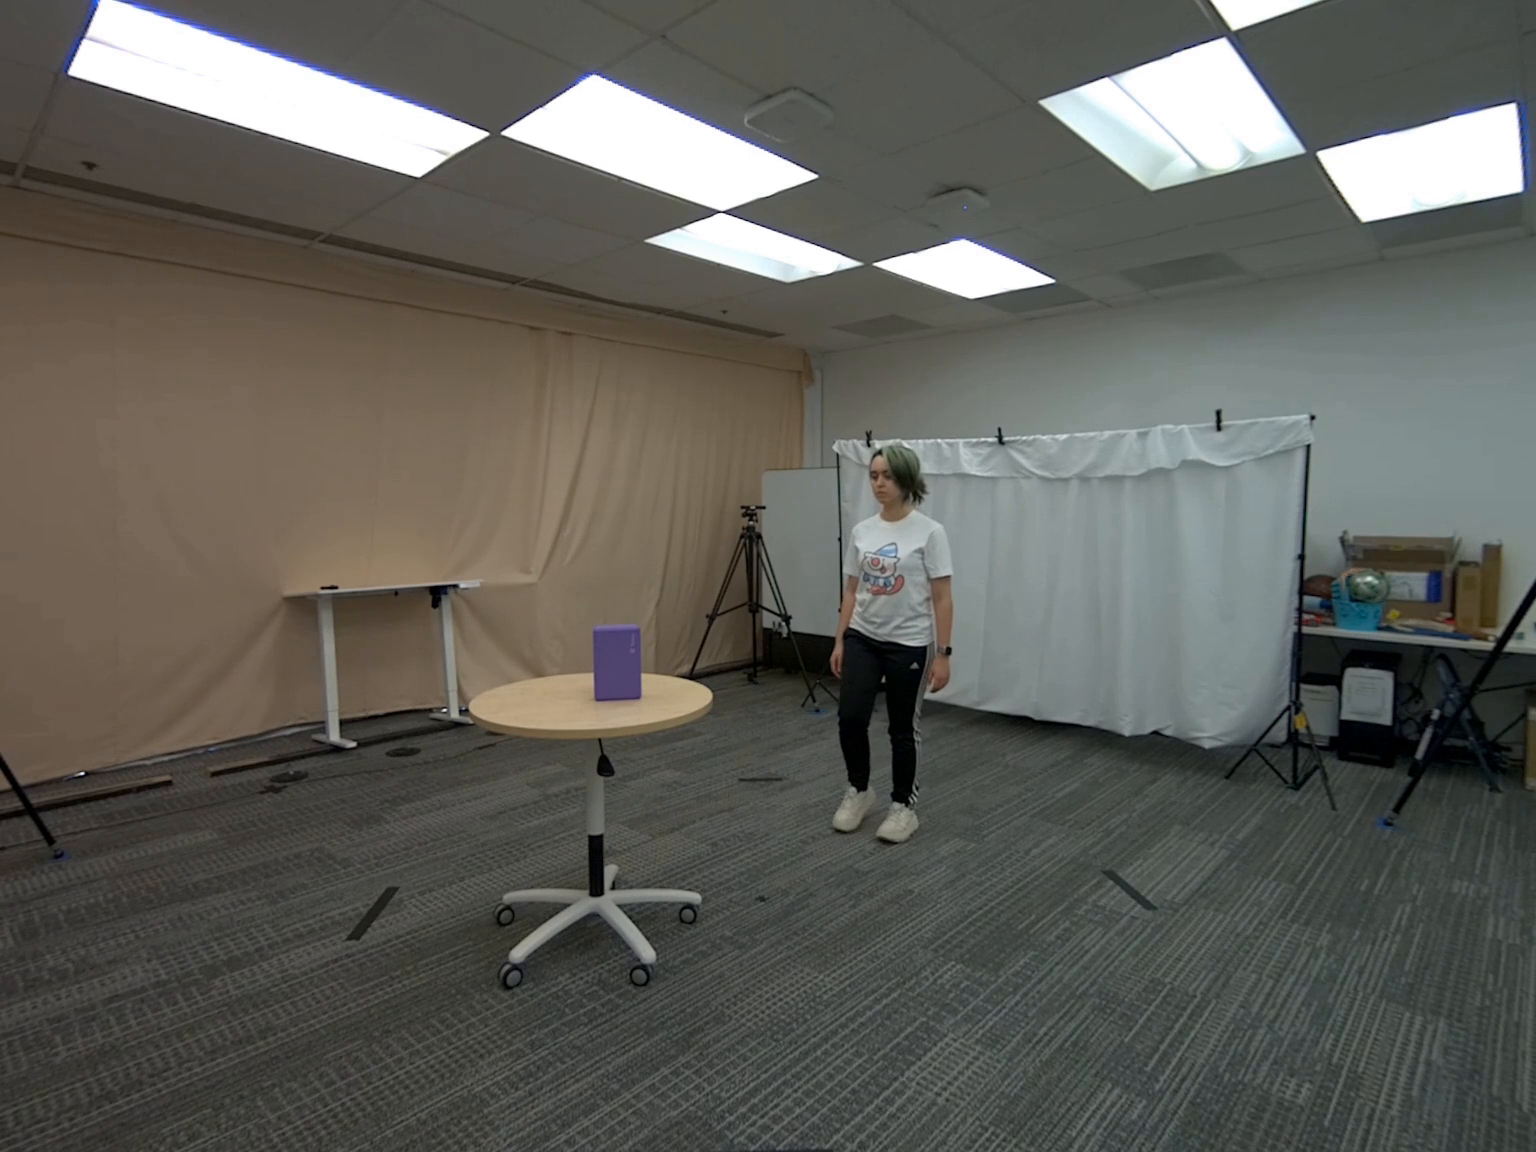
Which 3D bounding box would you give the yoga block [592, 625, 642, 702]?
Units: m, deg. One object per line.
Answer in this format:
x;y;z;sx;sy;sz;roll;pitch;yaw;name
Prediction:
-0.482;0.278;2.666;0.148;0.229;0.077;-4;3;-5;yoga block
